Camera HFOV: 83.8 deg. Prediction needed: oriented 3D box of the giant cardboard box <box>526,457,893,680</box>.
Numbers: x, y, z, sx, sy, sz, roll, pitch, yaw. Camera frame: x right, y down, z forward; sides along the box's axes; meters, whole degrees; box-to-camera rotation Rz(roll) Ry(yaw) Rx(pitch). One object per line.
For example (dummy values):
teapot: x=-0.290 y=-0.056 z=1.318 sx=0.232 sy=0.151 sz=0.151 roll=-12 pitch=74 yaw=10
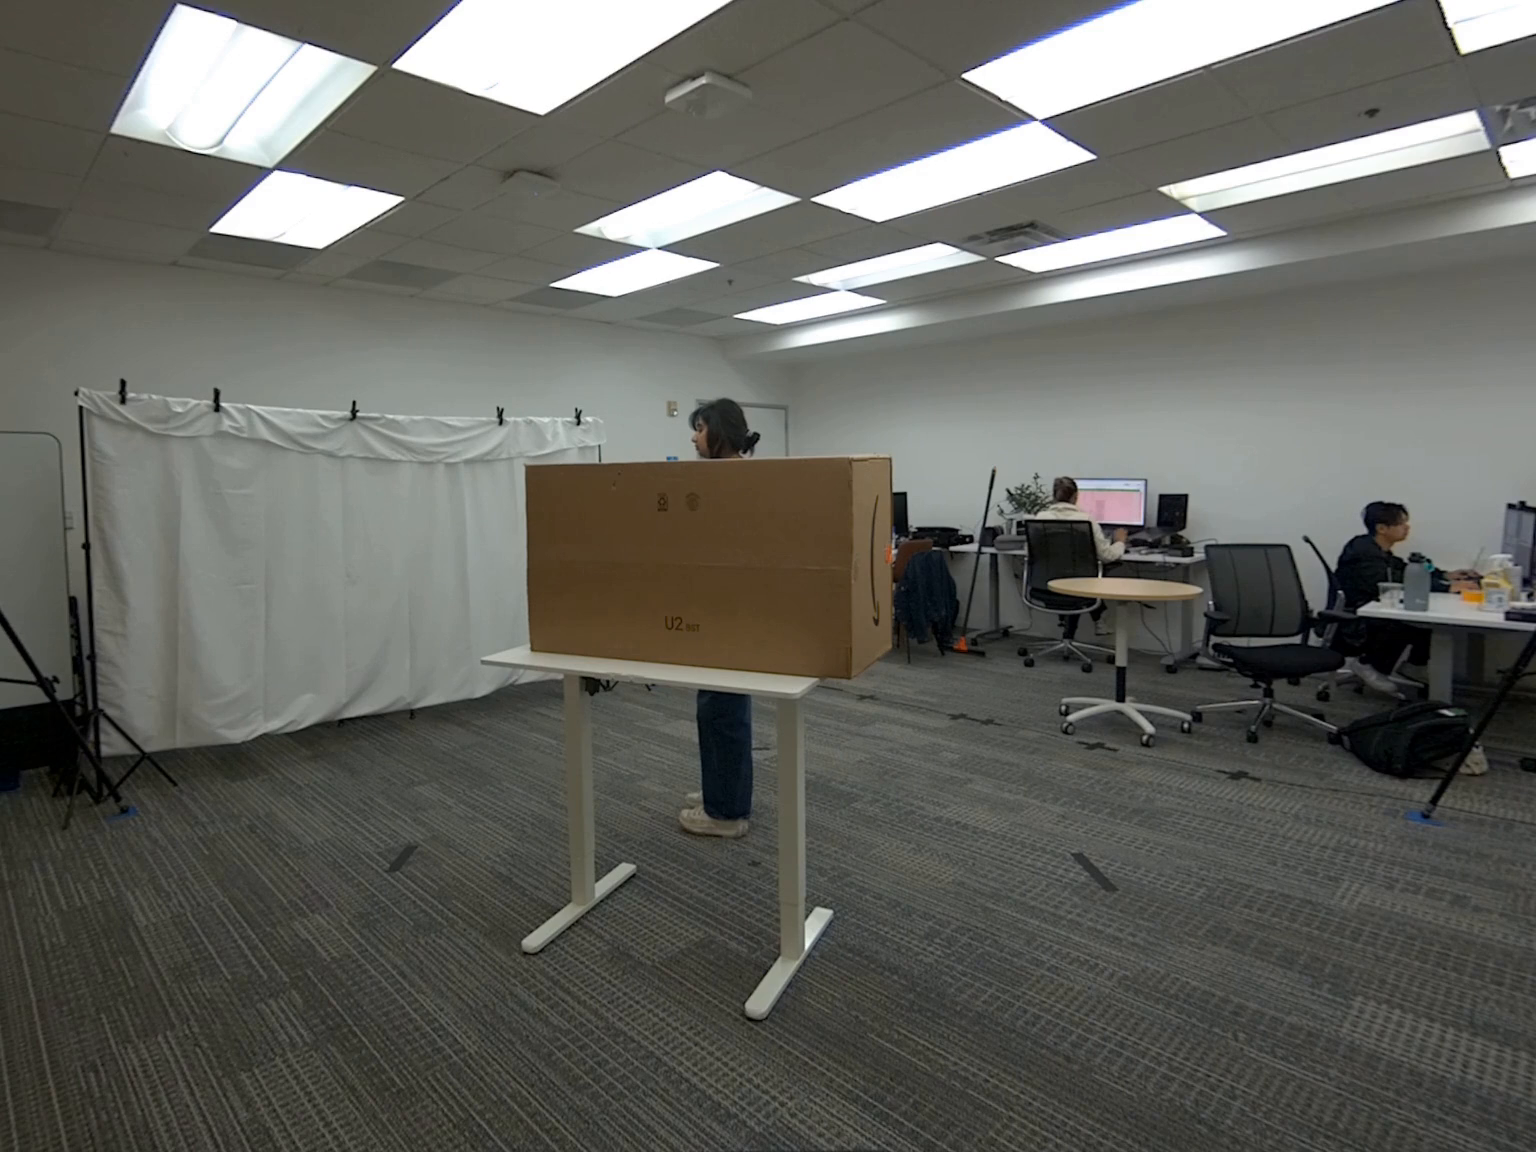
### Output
giant cardboard box: x=-0.181 y=-0.058 z=2.570 sx=1.049 sy=0.575 sz=0.418 roll=2 pitch=5 yaw=24
